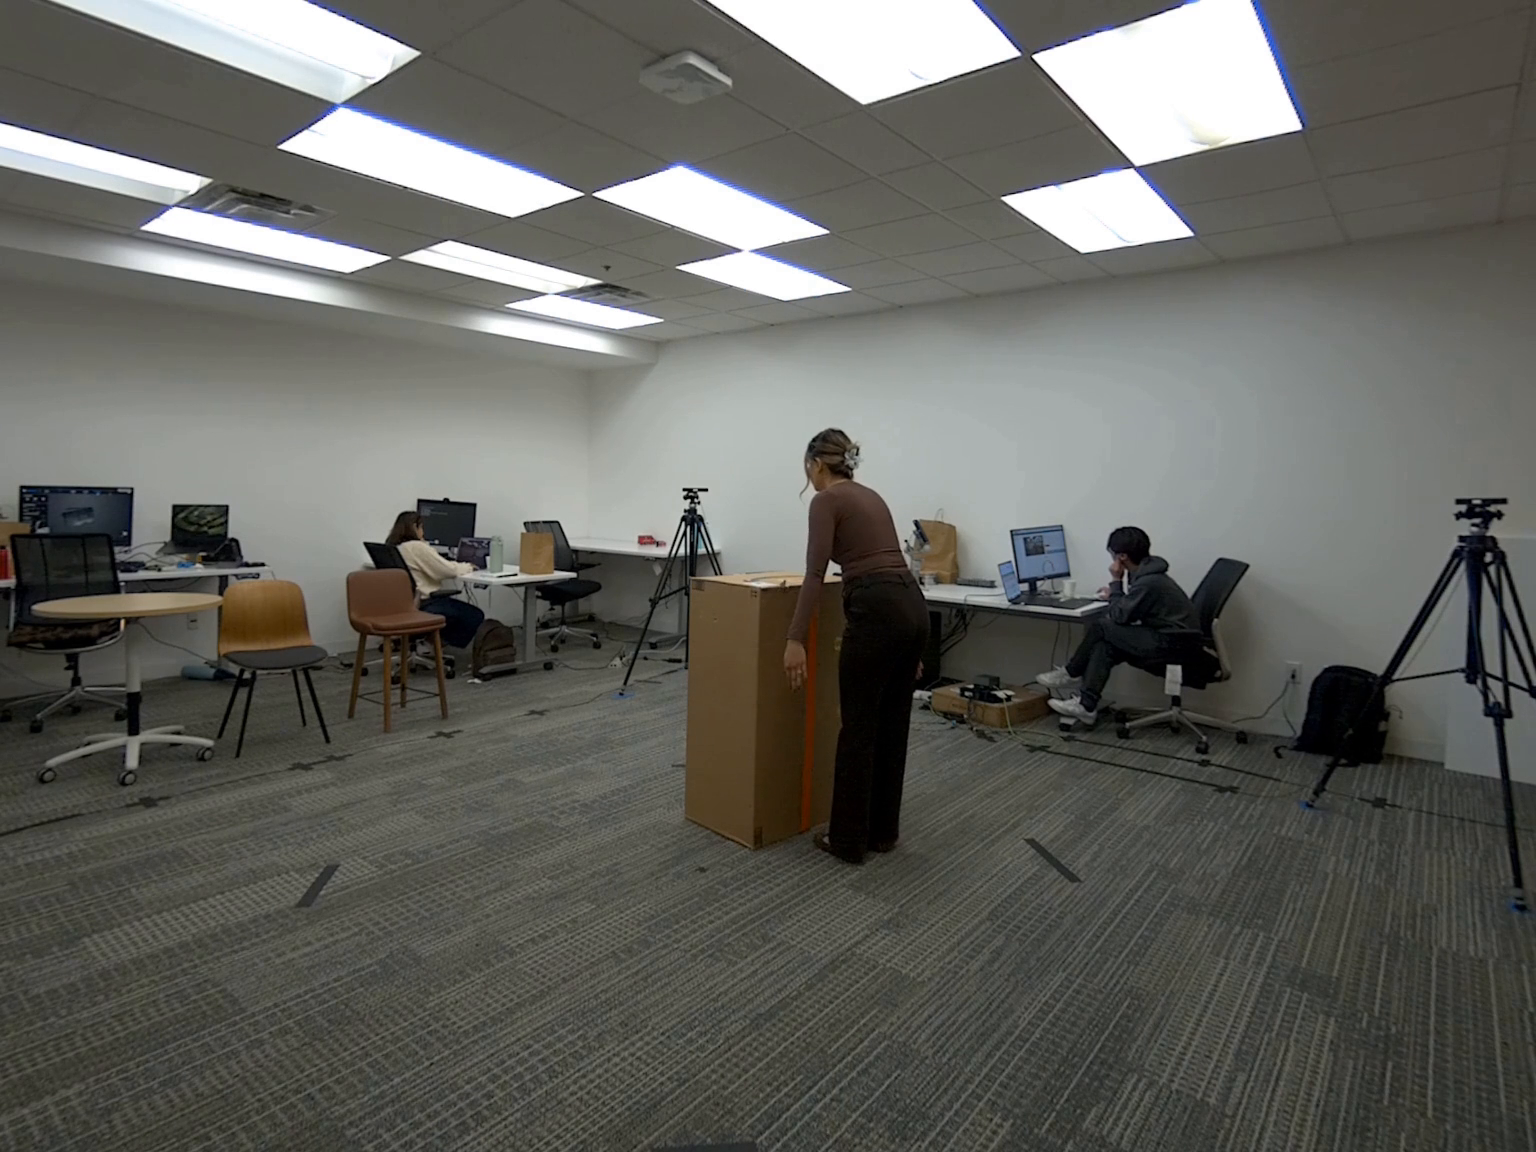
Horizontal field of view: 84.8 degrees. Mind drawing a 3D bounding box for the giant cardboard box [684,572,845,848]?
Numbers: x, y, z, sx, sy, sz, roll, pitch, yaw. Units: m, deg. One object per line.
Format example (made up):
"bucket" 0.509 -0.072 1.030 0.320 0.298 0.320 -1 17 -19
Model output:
"giant cardboard box" -0.004 0.515 3.604 0.566 1.023 0.462 -2 5 -43
